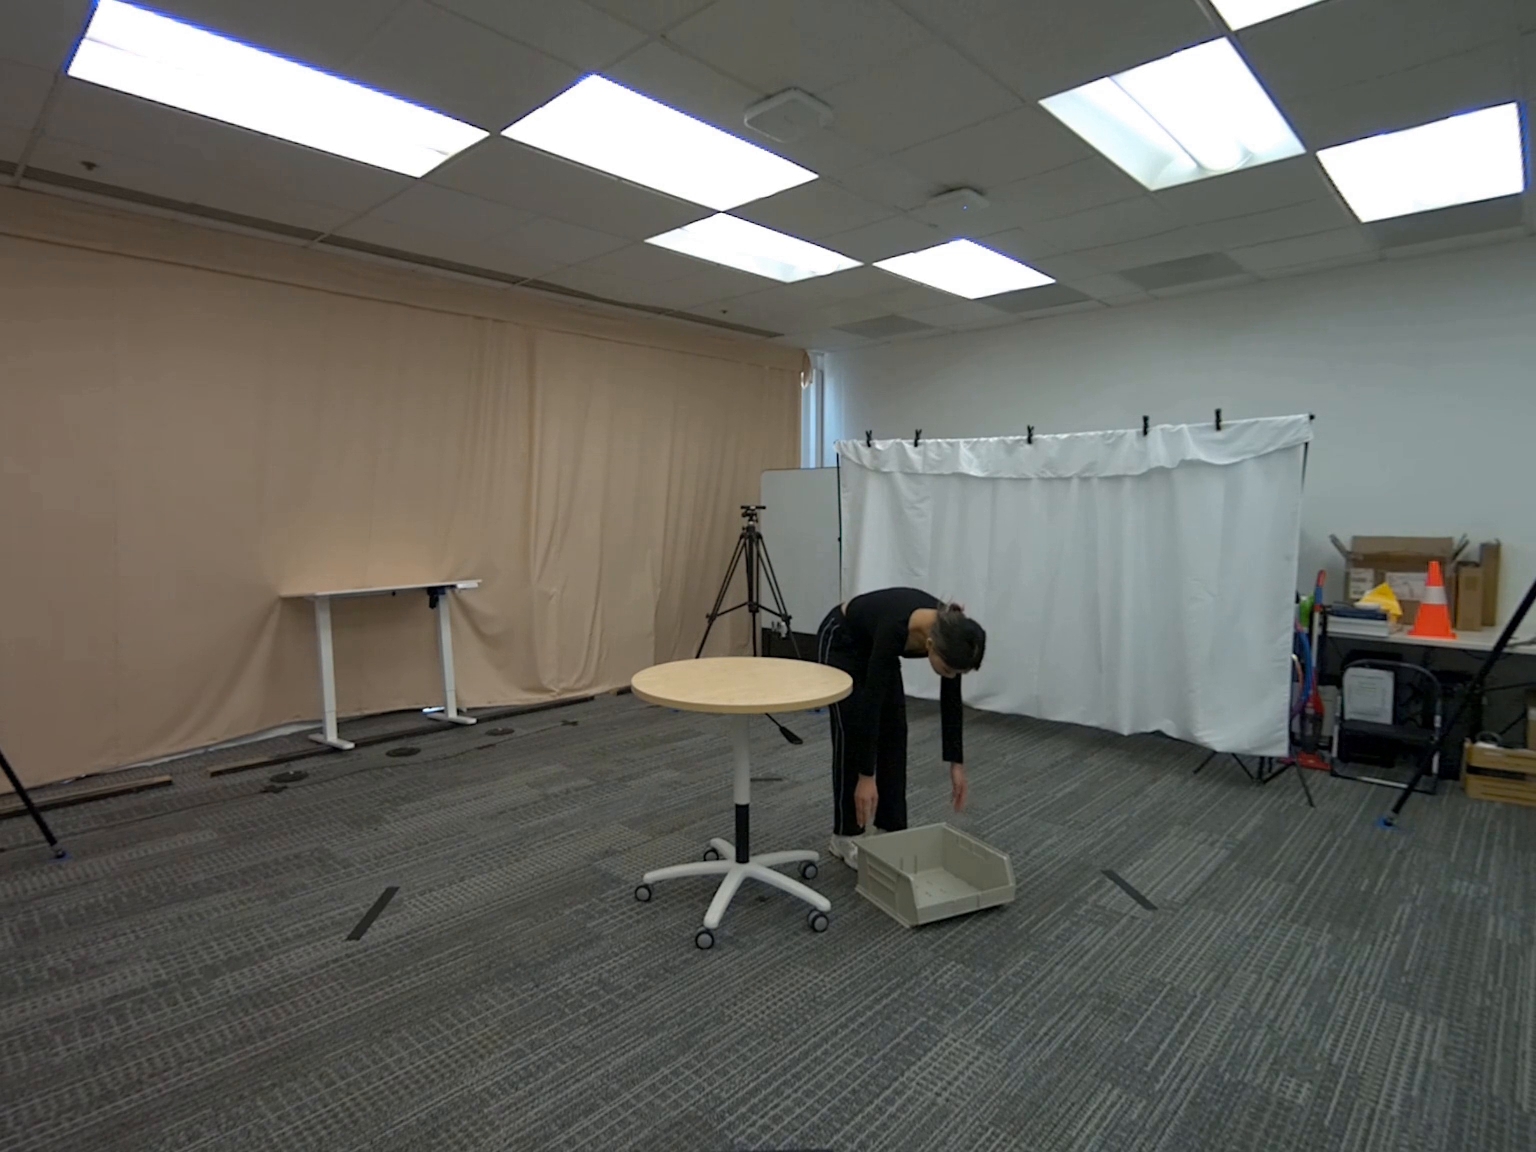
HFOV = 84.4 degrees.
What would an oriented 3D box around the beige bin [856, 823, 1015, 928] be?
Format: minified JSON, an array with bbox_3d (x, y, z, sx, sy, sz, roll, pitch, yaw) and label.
[{"bbox_3d":[0.578,1.049,2.973,0.412,0.188,0.387,-3,4,-27],"label":"beige bin"}]
